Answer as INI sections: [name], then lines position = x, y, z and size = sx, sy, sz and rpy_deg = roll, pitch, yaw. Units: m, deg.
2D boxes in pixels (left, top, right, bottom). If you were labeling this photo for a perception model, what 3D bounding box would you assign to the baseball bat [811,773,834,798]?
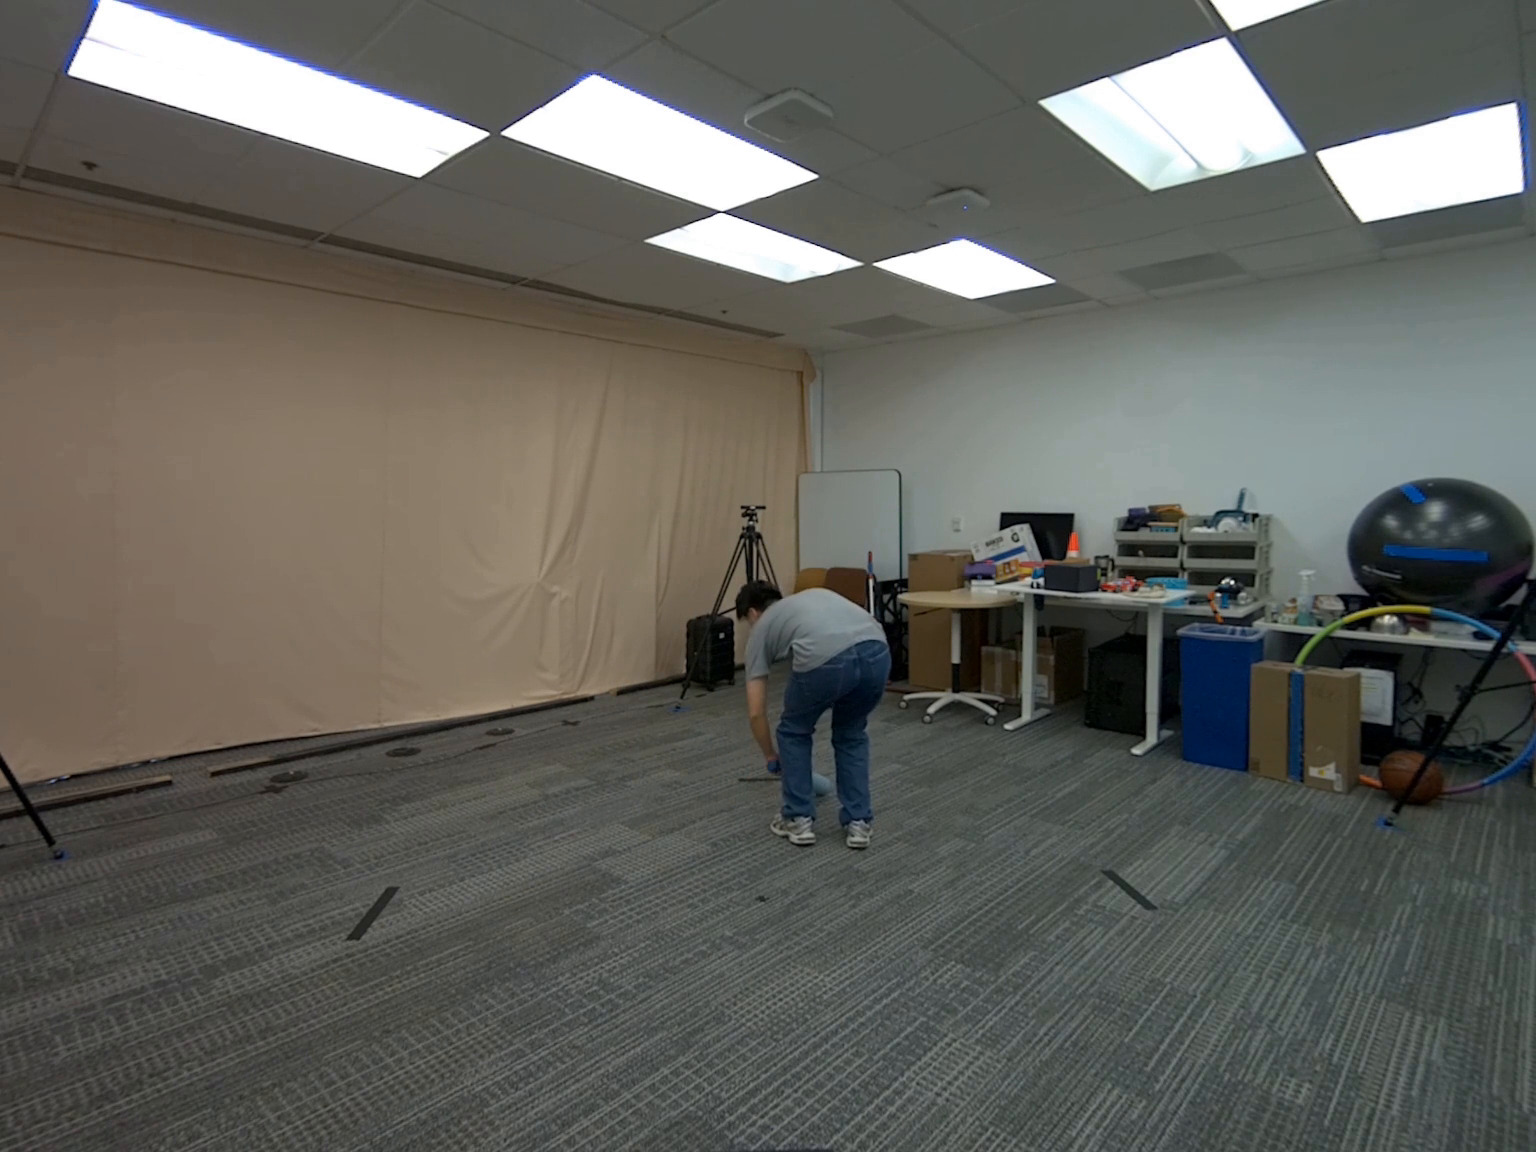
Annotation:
[baseball bat]
position = 0.137, 0.920, 3.853
size = 0.092, 0.089, 0.523
rpy_deg = 3, -19, 35
